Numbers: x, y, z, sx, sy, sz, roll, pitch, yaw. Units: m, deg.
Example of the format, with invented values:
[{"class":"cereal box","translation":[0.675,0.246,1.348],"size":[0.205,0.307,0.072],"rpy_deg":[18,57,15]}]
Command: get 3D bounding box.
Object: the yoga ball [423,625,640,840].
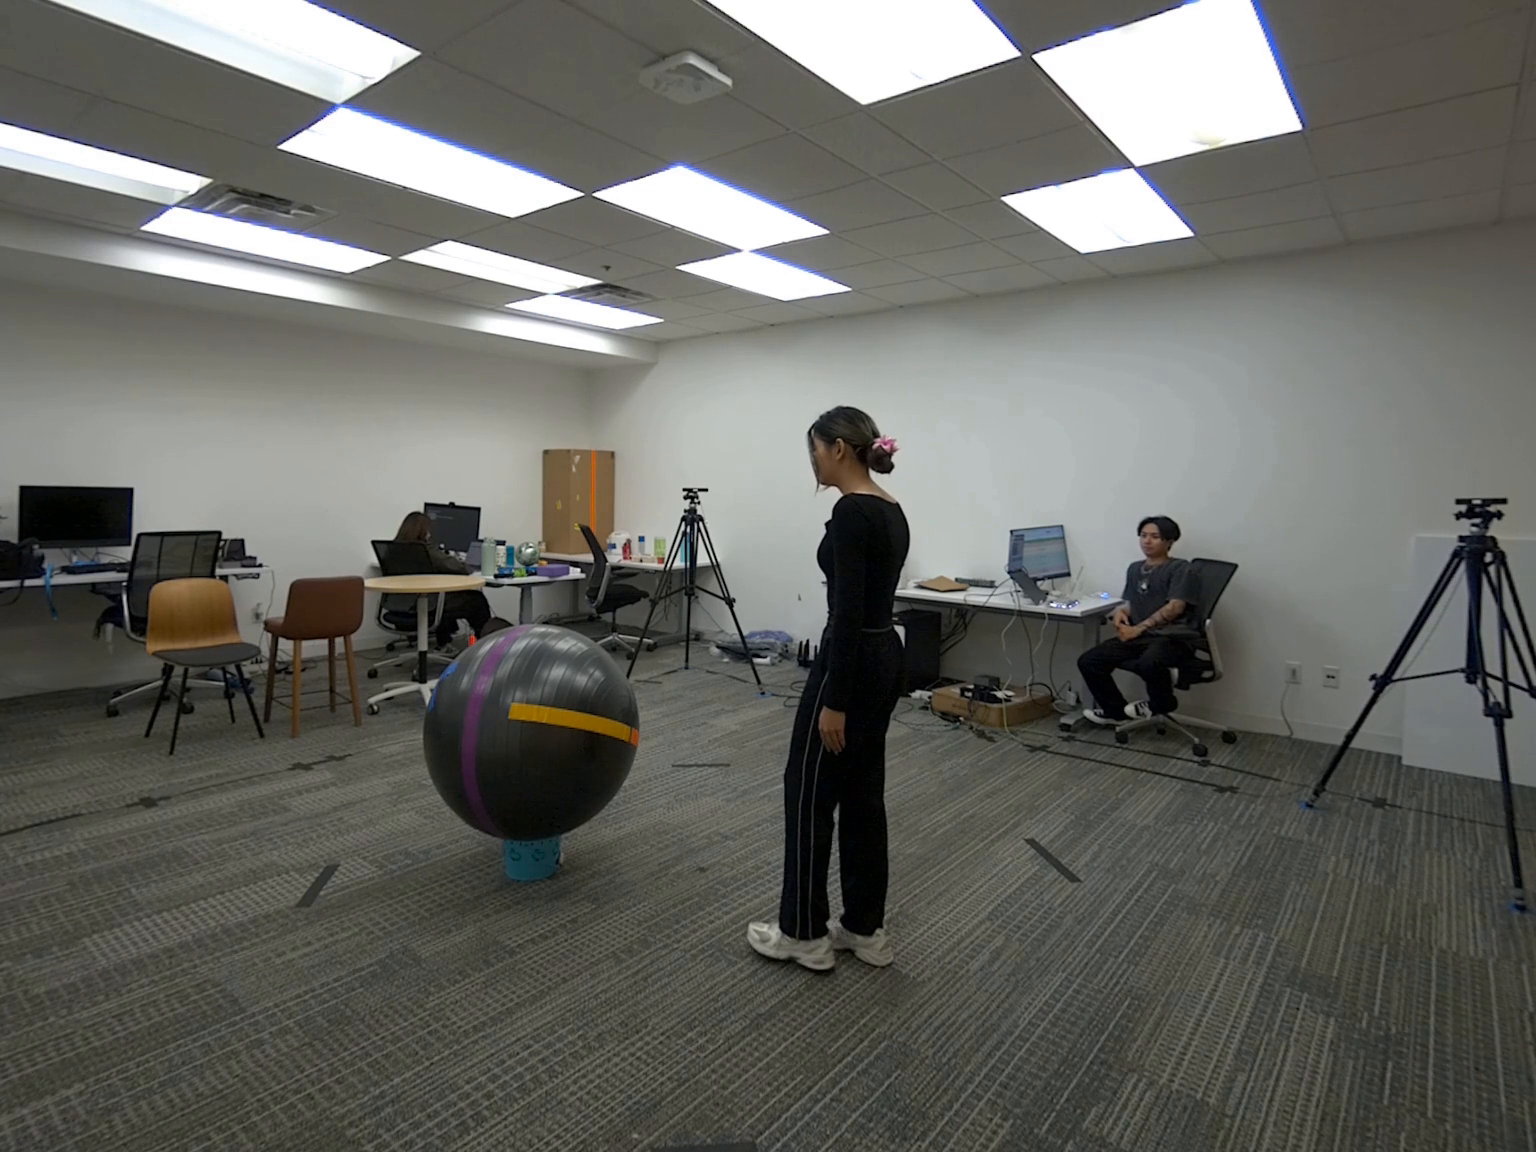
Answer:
[{"class":"yoga ball","translation":[-0.858,0.555,3.060],"size":[0.757,0.755,0.762],"rpy_deg":[1,4,-2]}]
